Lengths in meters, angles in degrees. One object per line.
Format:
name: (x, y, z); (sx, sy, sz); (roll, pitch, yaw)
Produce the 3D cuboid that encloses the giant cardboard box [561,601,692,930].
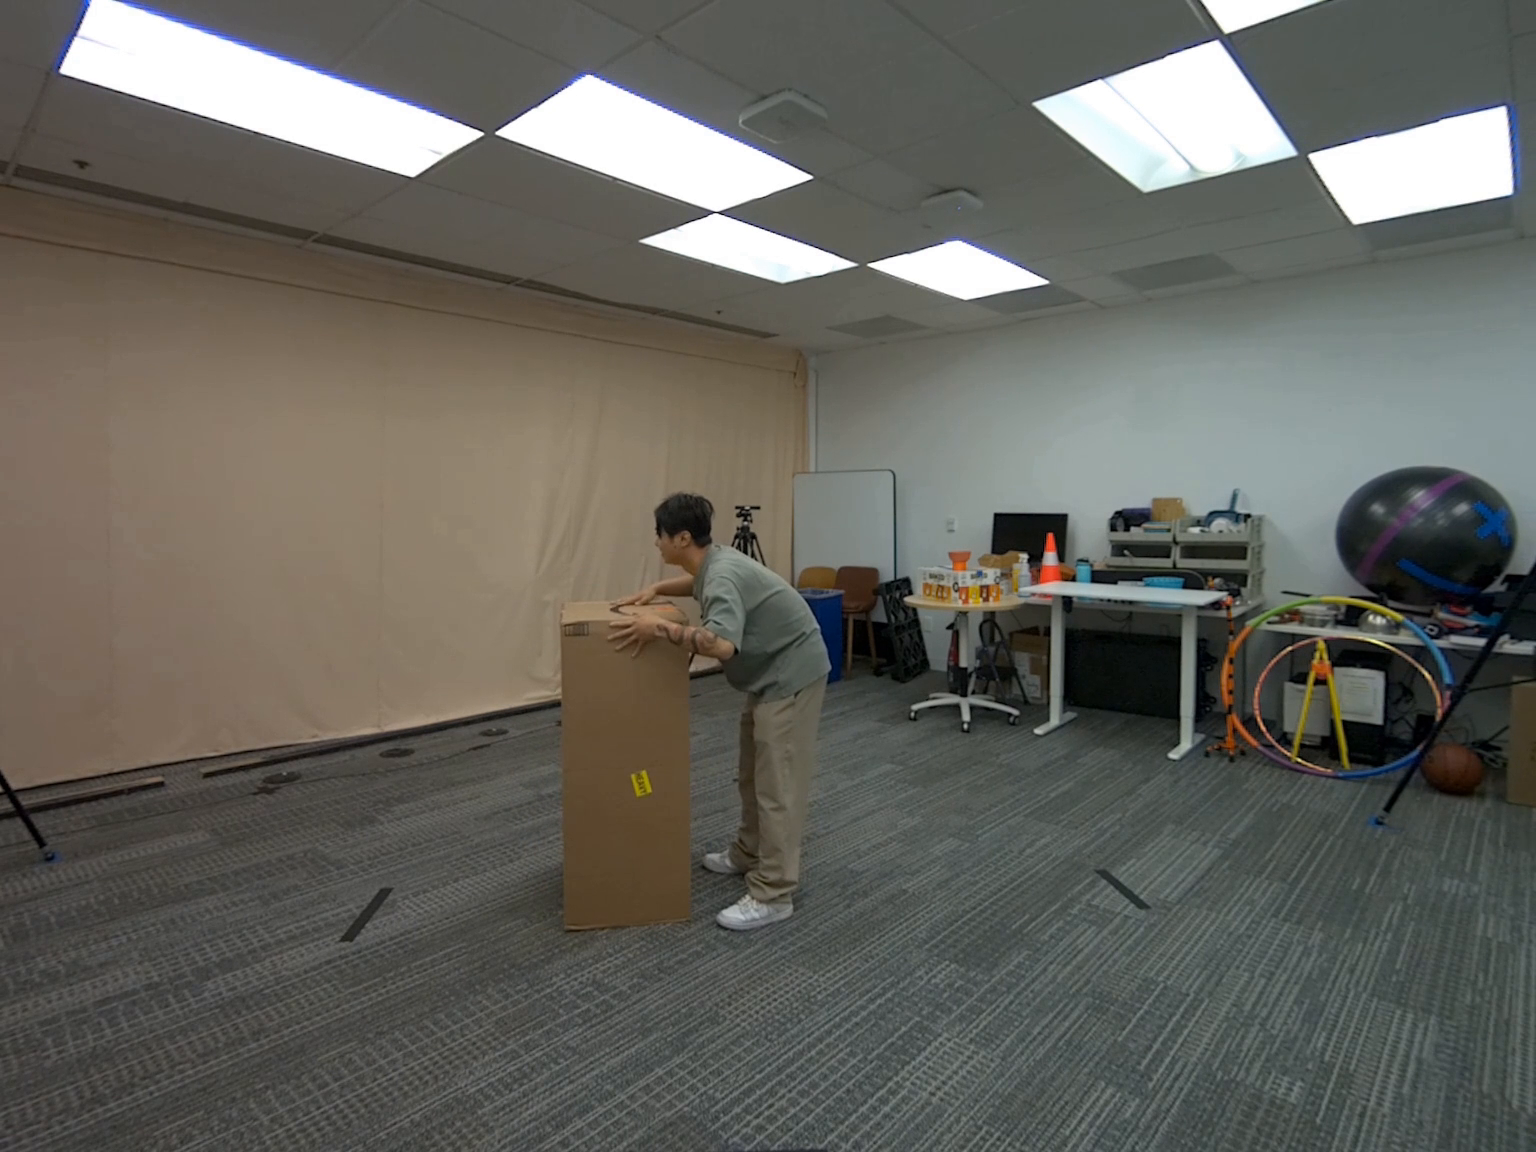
giant cardboard box: (-0.523, 0.634, 3.056); (0.422, 1.024, 0.585); (0, 3, -11)
